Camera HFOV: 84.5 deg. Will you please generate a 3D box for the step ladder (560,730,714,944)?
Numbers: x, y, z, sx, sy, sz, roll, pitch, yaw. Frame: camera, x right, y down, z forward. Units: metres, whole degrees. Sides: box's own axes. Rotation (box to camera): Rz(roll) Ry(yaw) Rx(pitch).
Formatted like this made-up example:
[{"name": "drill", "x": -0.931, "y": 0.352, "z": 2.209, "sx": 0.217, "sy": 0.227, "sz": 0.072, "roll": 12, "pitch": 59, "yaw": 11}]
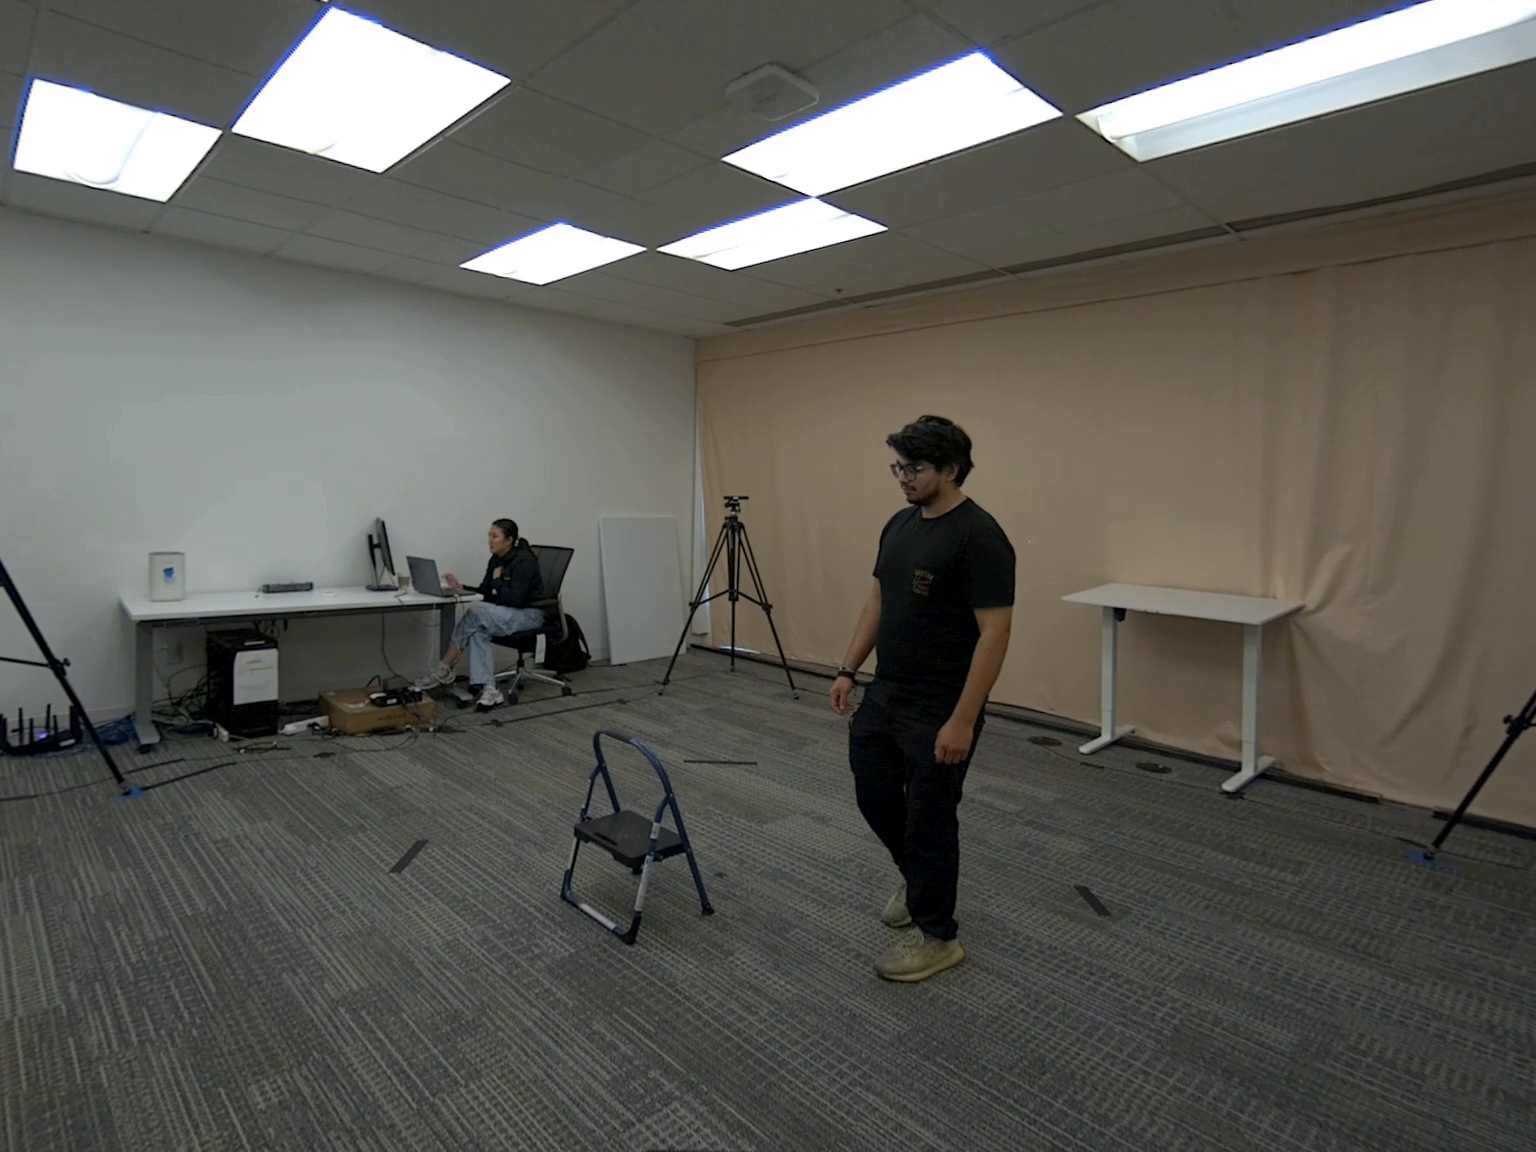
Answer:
[{"name": "step ladder", "x": -0.449, "y": 0.817, "z": 2.846, "sx": 0.341, "sy": 0.605, "sz": 0.441, "roll": -2, "pitch": 5, "yaw": -44}]
